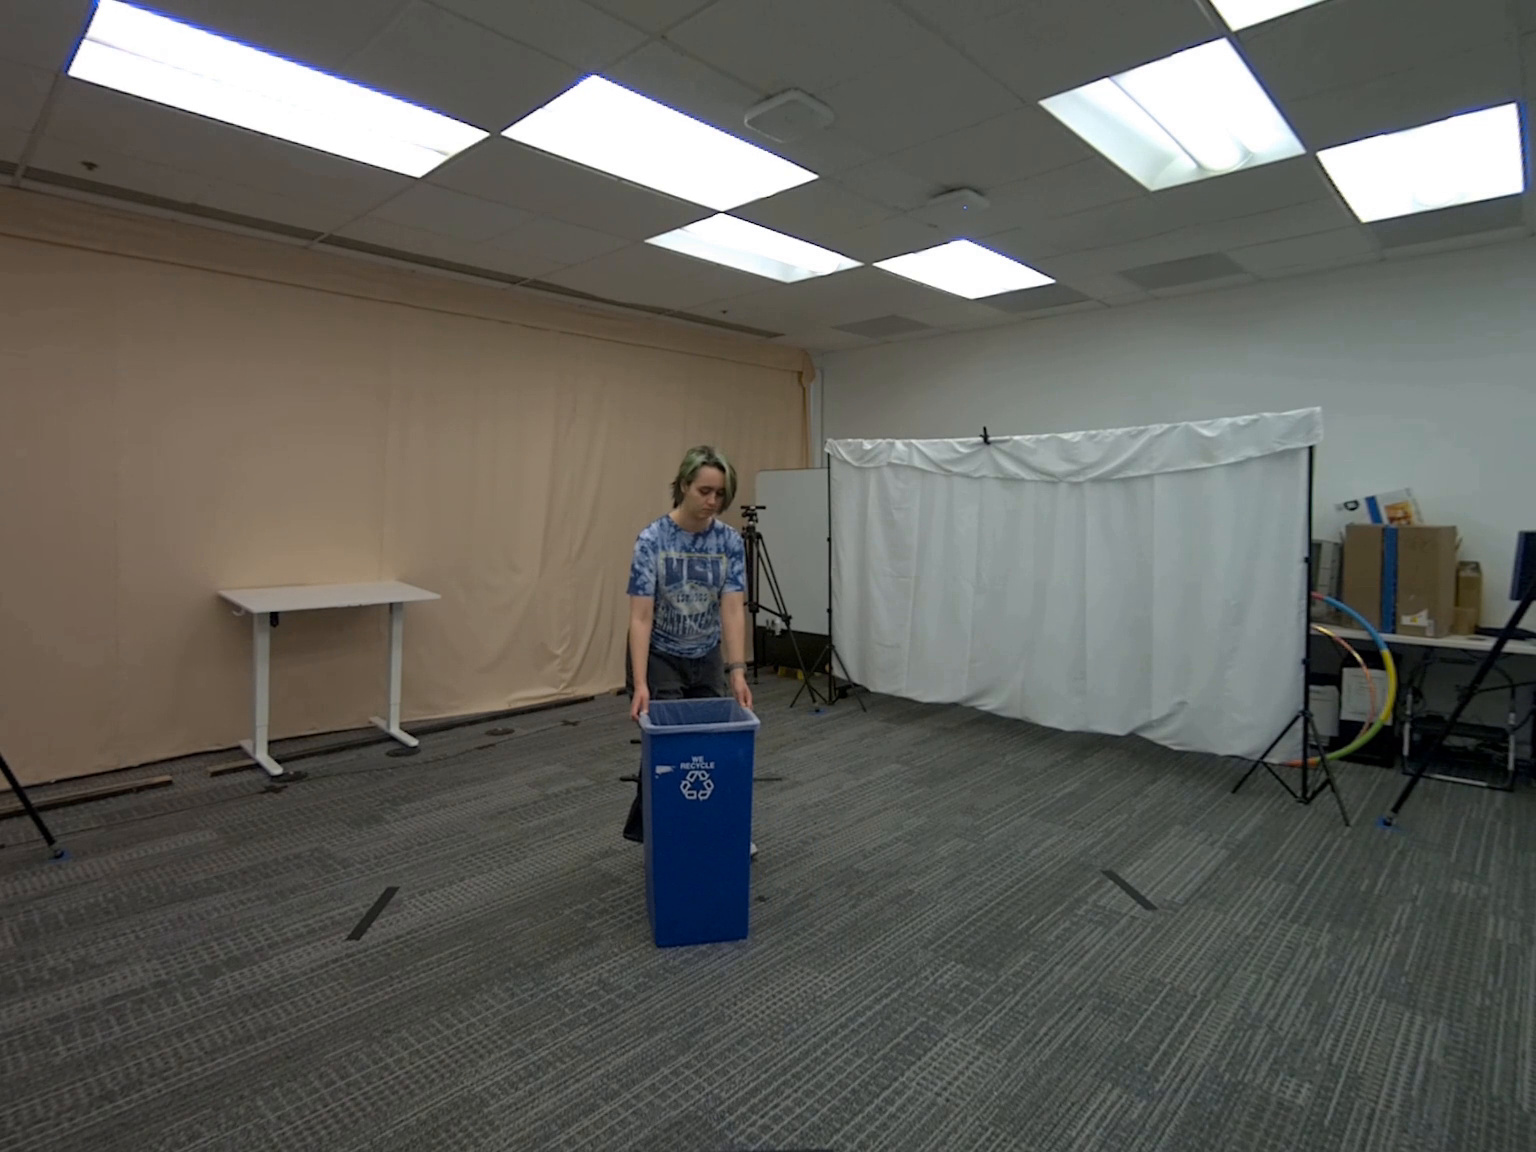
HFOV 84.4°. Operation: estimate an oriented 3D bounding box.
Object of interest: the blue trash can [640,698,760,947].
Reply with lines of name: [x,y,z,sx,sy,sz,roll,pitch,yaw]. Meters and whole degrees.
blue trash can: [-0.233,0.799,2.809,0.369,0.712,0.384,-1,4,-13]
